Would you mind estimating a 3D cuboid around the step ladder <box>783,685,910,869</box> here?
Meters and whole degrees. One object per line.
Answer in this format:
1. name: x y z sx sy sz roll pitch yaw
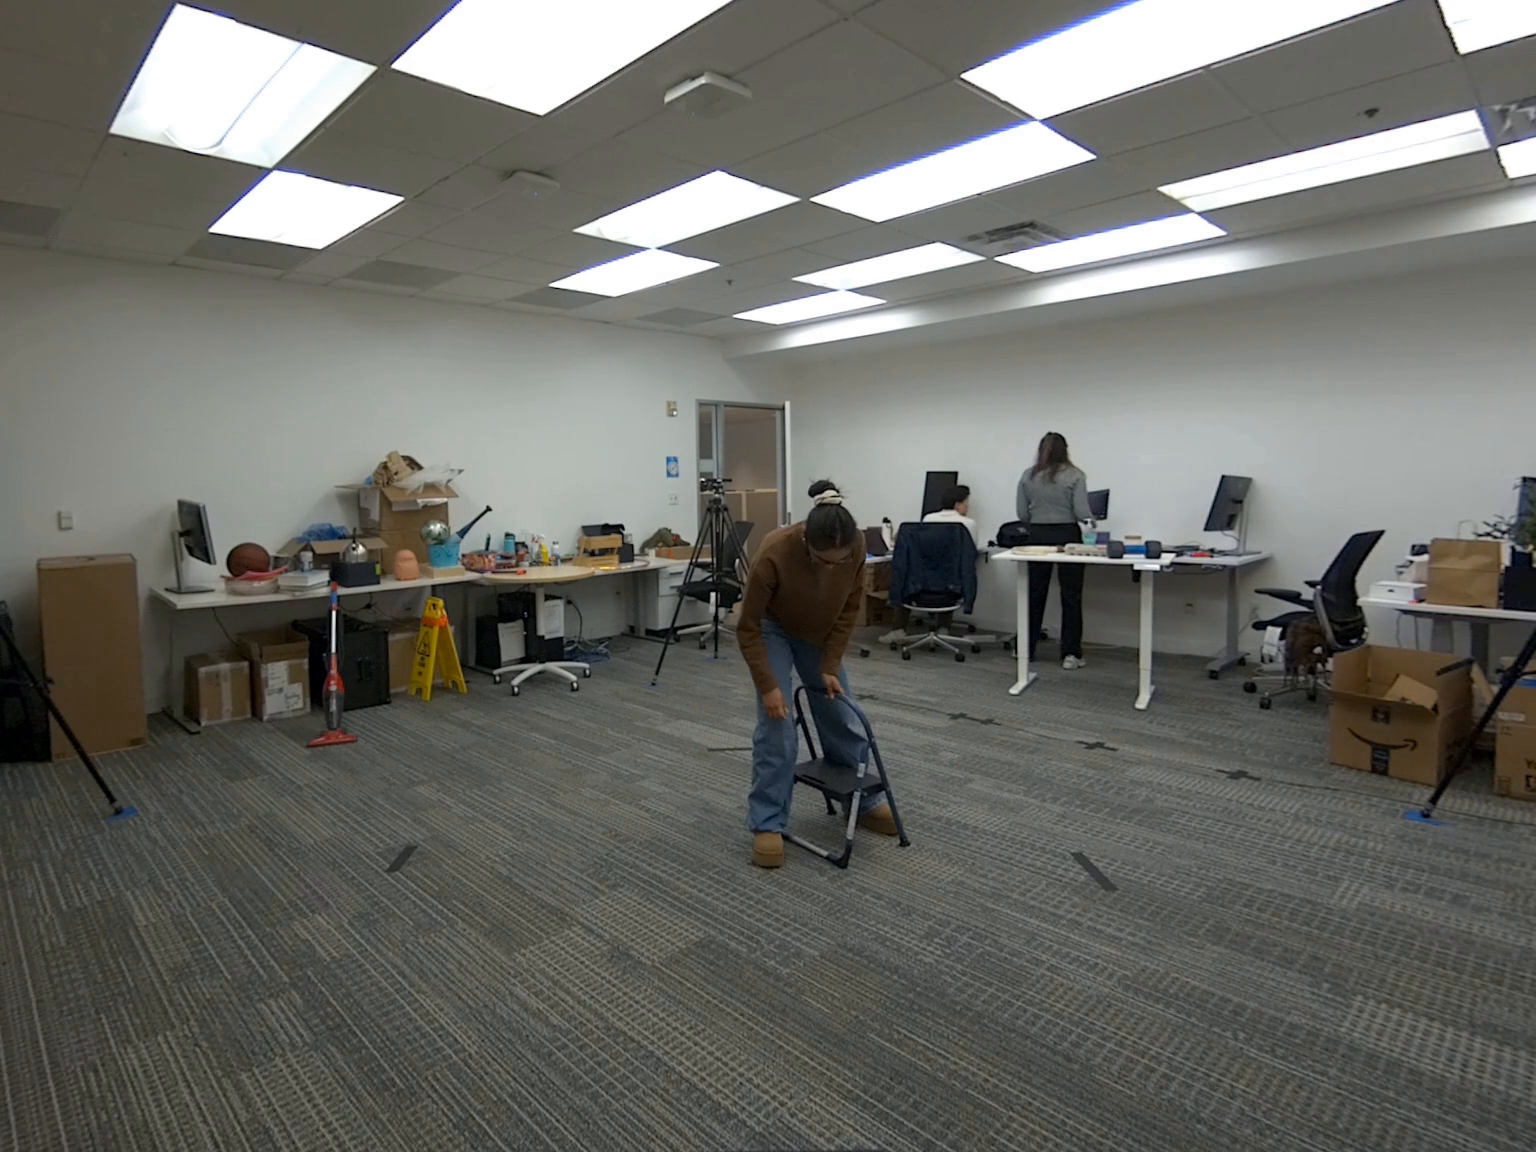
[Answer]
1. step ladder: 0.269 0.719 3.286 0.340 0.604 0.443 -4 5 -38
